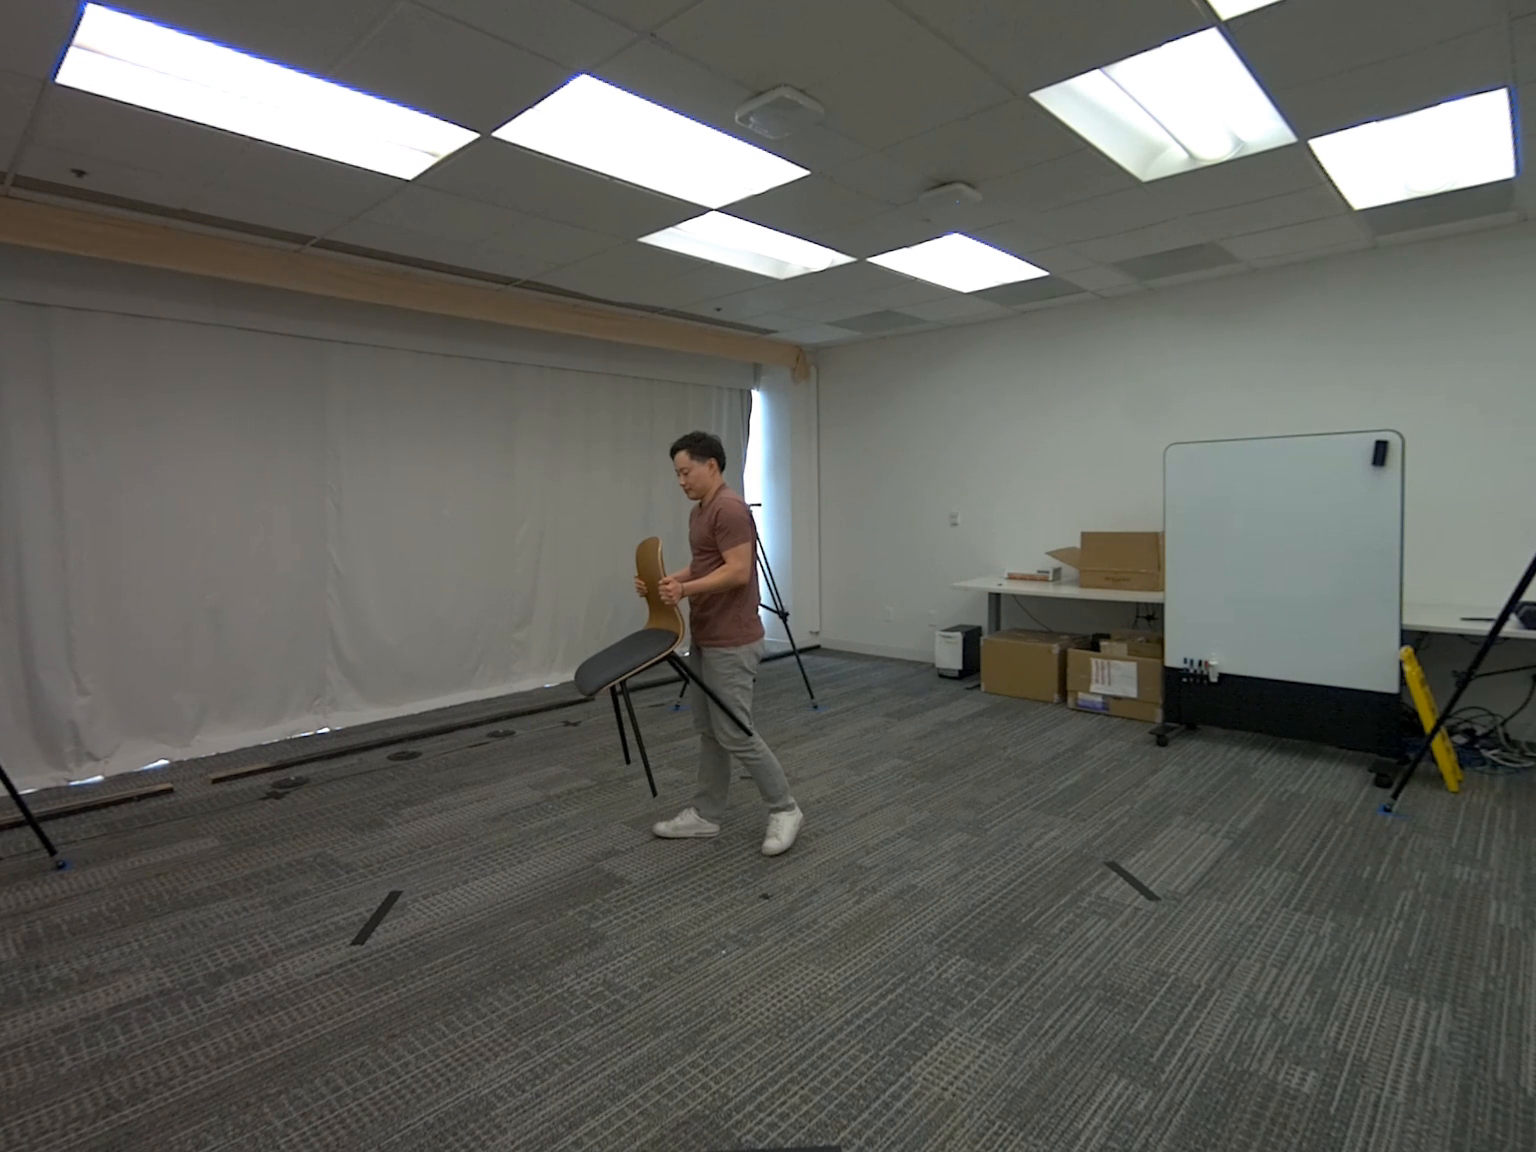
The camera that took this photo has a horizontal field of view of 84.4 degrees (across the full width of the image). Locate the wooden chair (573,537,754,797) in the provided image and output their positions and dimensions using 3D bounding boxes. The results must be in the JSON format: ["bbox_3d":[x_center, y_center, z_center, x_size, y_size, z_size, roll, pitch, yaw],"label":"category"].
[{"bbox_3d":[-0.509,0.349,3.361,0.516,0.868,0.489,-24,11,-18],"label":"wooden chair"}]
